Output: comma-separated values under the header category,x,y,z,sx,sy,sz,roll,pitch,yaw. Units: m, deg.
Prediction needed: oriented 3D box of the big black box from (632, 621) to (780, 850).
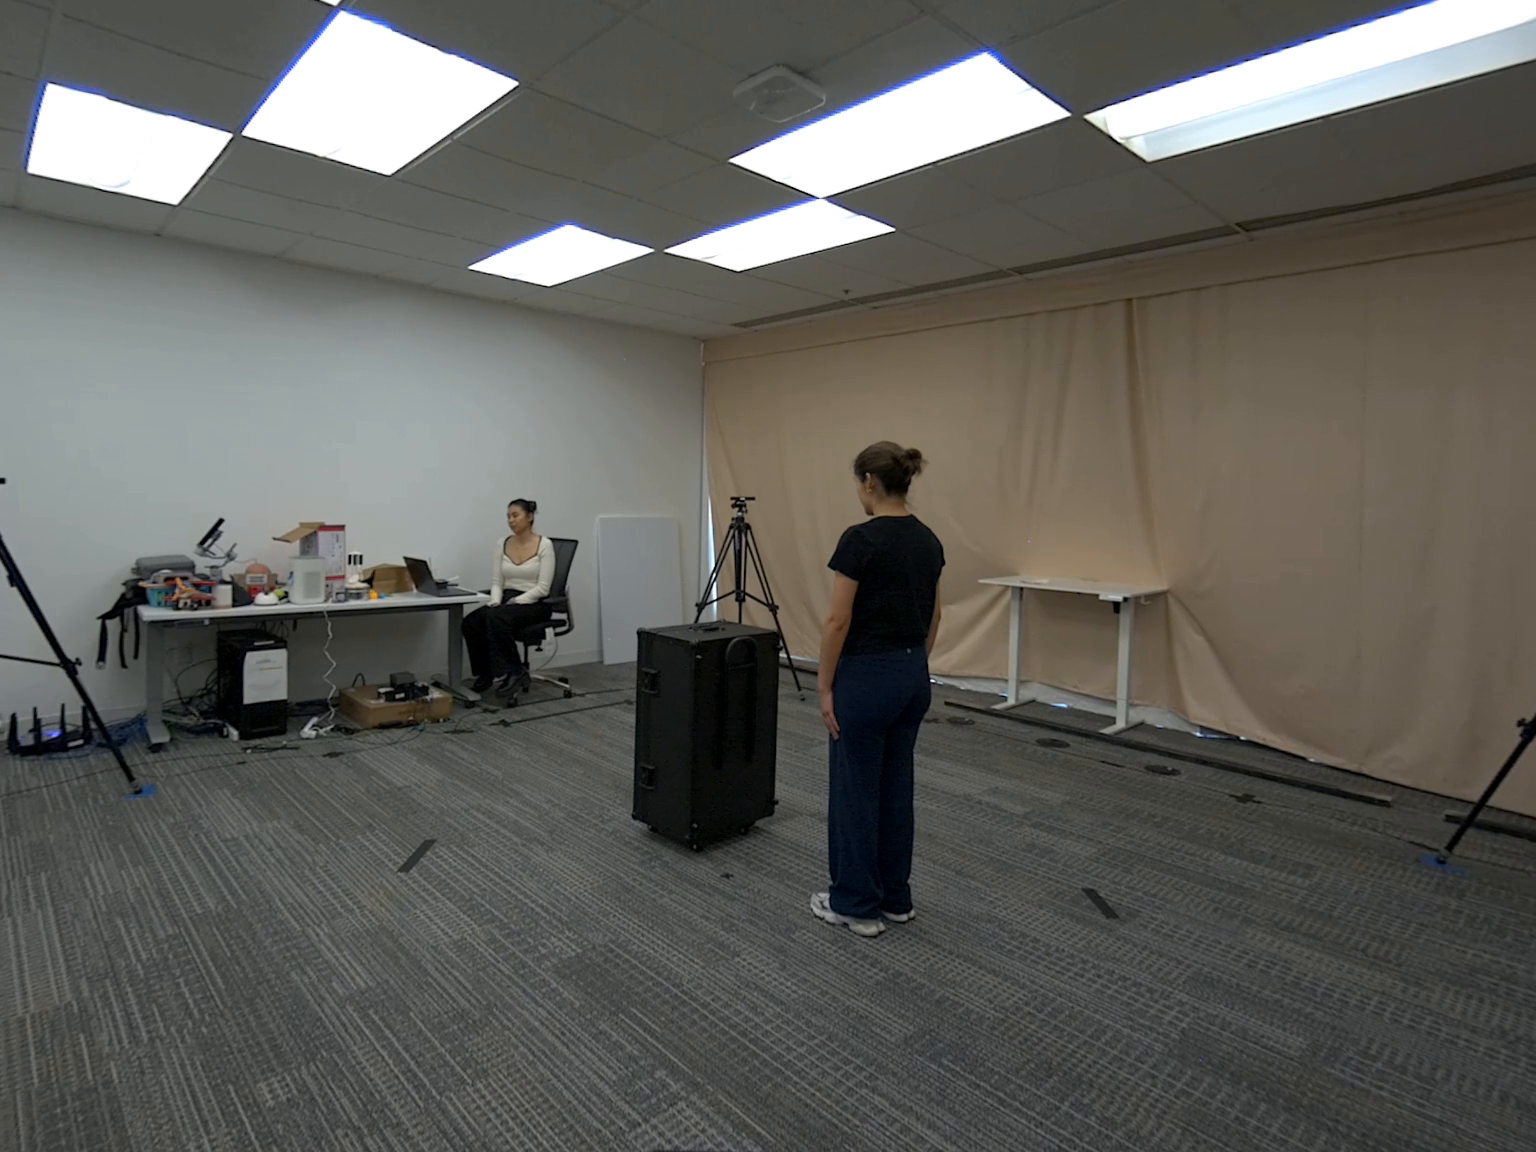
category,x,y,z,sx,sy,sz,roll,pitch,yaw
big black box,-0.250,0.649,3.463,0.406,0.859,0.509,6,5,43
